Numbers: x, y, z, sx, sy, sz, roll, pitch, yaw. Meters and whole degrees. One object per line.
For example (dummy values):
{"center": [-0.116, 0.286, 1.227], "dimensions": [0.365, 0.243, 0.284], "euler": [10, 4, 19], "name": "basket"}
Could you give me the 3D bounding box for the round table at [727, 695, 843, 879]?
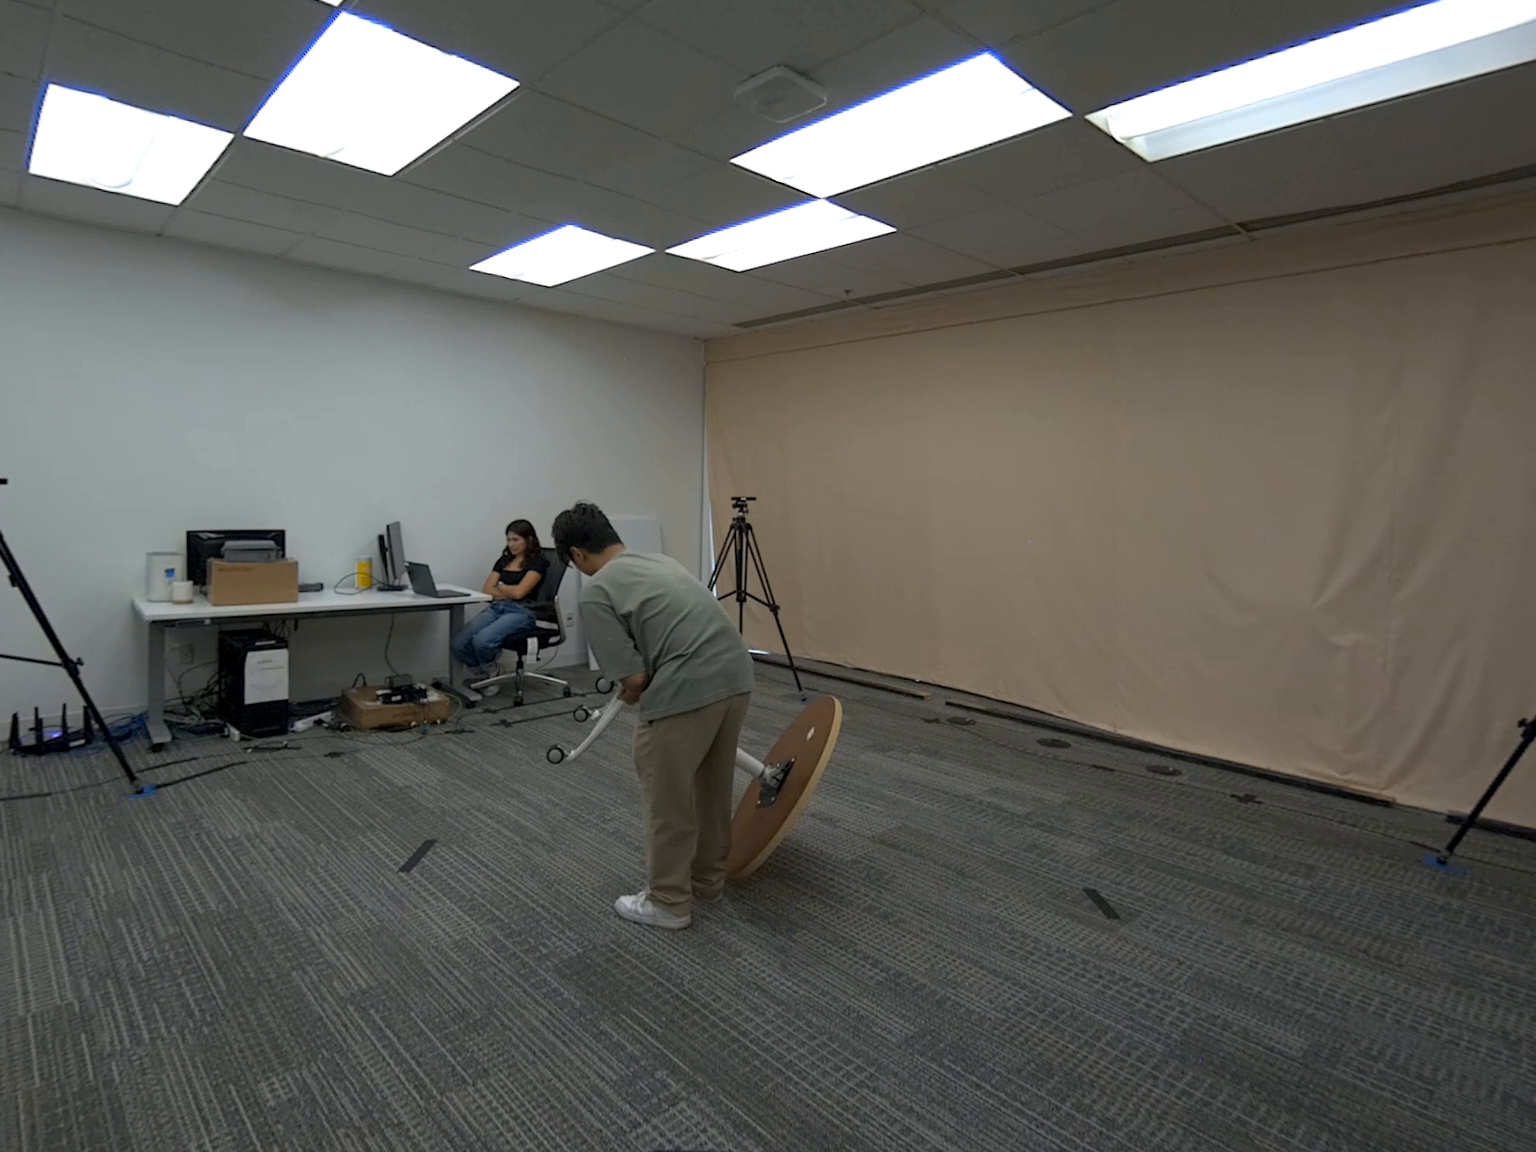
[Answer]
{"center": [-0.272, 0.559, 3.129], "dimensions": [0.783, 0.785, 0.789], "euler": [35, 2, -5], "name": "round table"}
